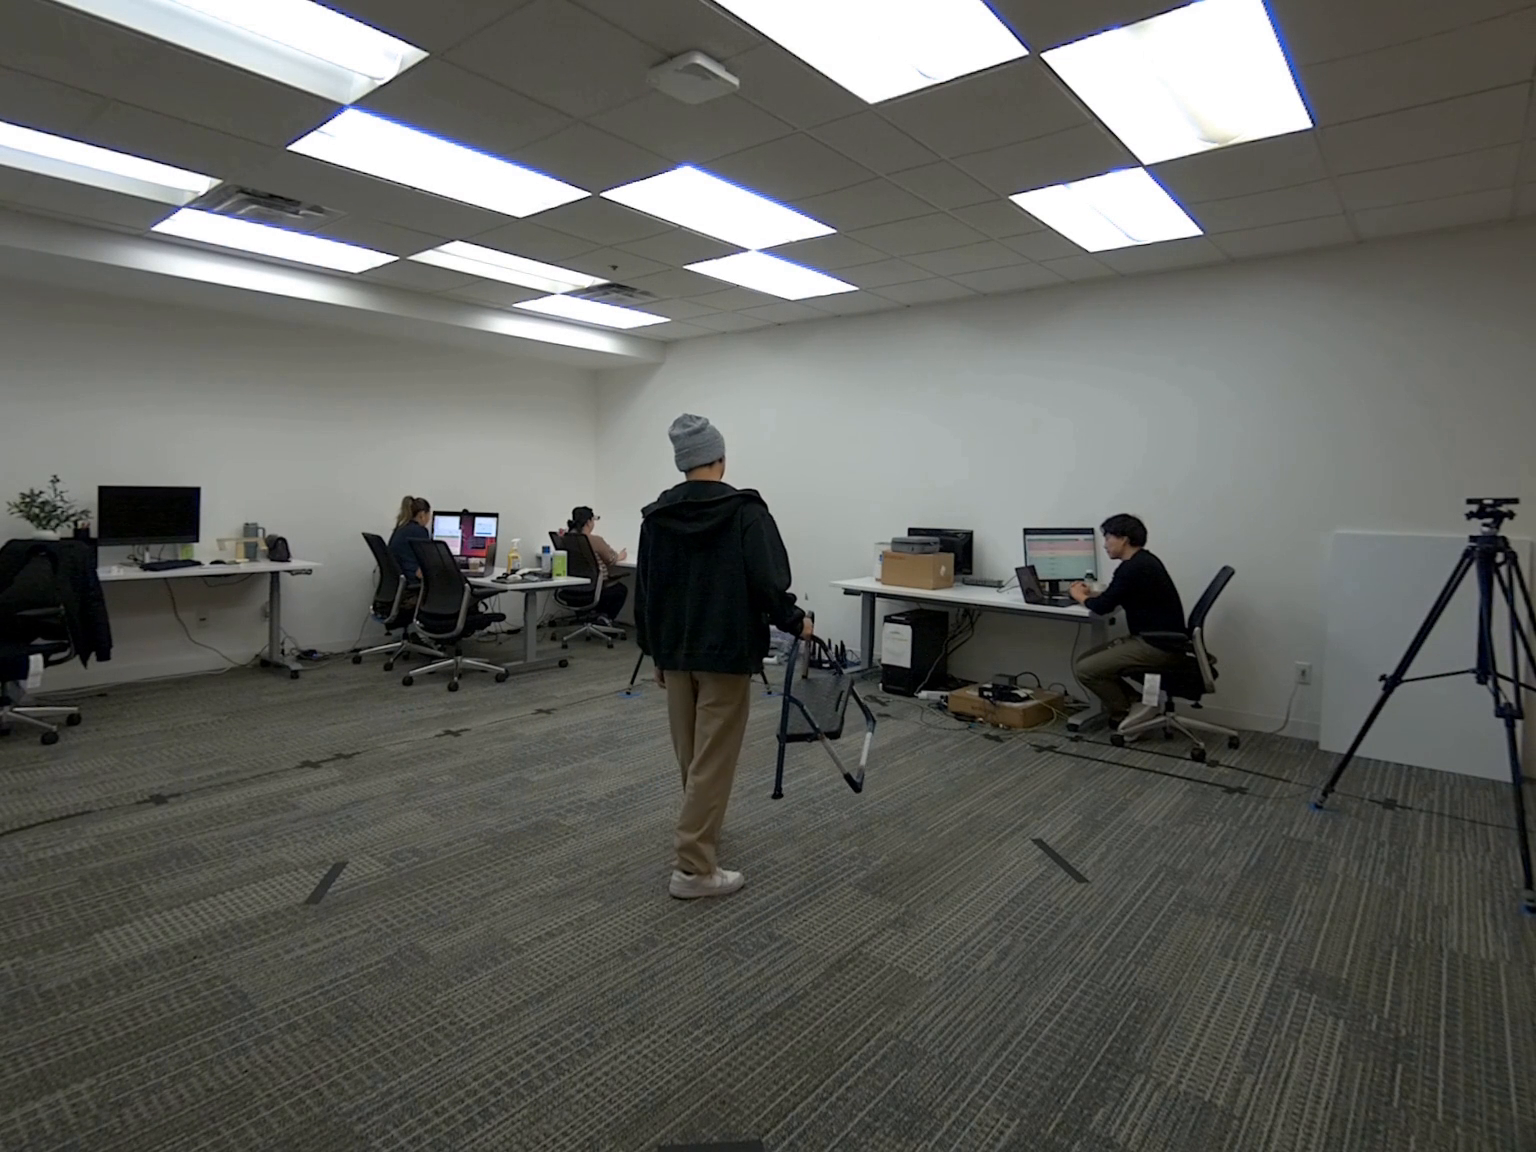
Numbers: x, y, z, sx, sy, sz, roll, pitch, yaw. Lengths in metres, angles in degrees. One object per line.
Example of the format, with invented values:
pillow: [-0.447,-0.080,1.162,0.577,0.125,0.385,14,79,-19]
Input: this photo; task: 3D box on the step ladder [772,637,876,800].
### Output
step ladder: [0.130,0.452,3.201,0.355,0.591,0.434,-10,24,21]
